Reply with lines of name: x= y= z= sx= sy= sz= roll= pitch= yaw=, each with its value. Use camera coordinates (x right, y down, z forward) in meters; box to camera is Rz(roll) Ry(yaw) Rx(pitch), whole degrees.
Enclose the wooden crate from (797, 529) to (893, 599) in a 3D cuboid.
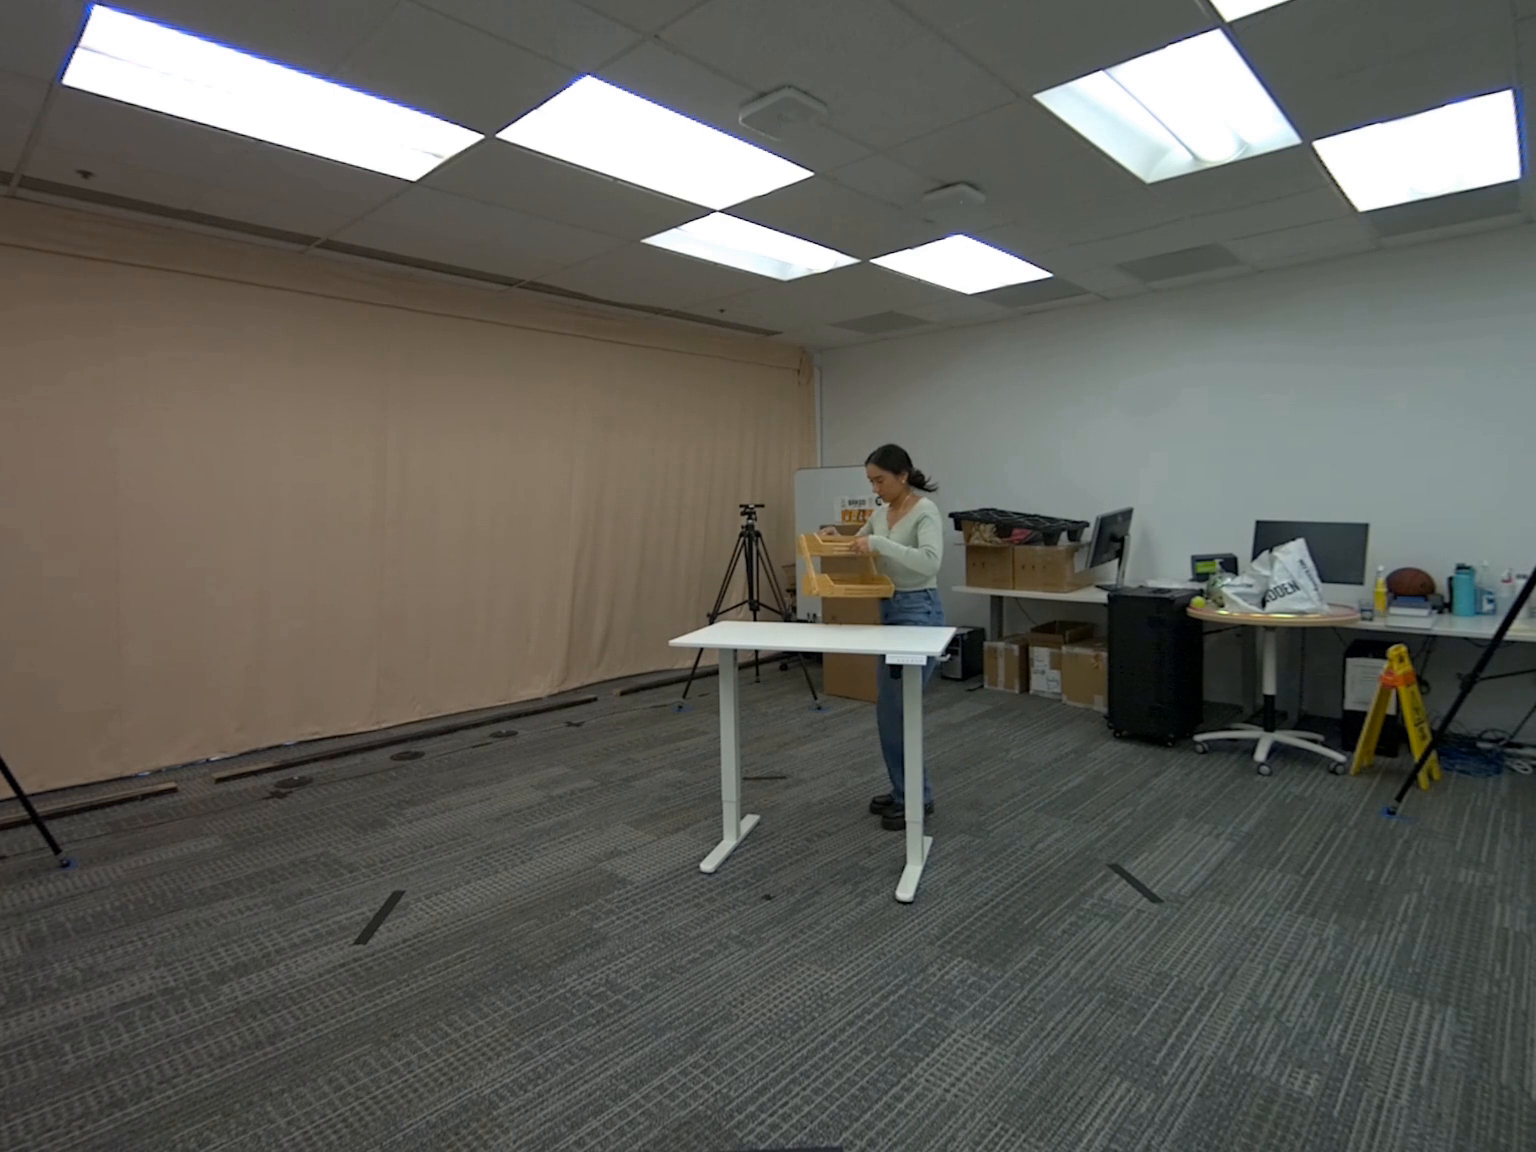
wooden crate: x=0.337 y=-0.046 z=3.552 sx=0.316 sy=0.273 sz=0.309 roll=1 pitch=-2 yaw=-26
